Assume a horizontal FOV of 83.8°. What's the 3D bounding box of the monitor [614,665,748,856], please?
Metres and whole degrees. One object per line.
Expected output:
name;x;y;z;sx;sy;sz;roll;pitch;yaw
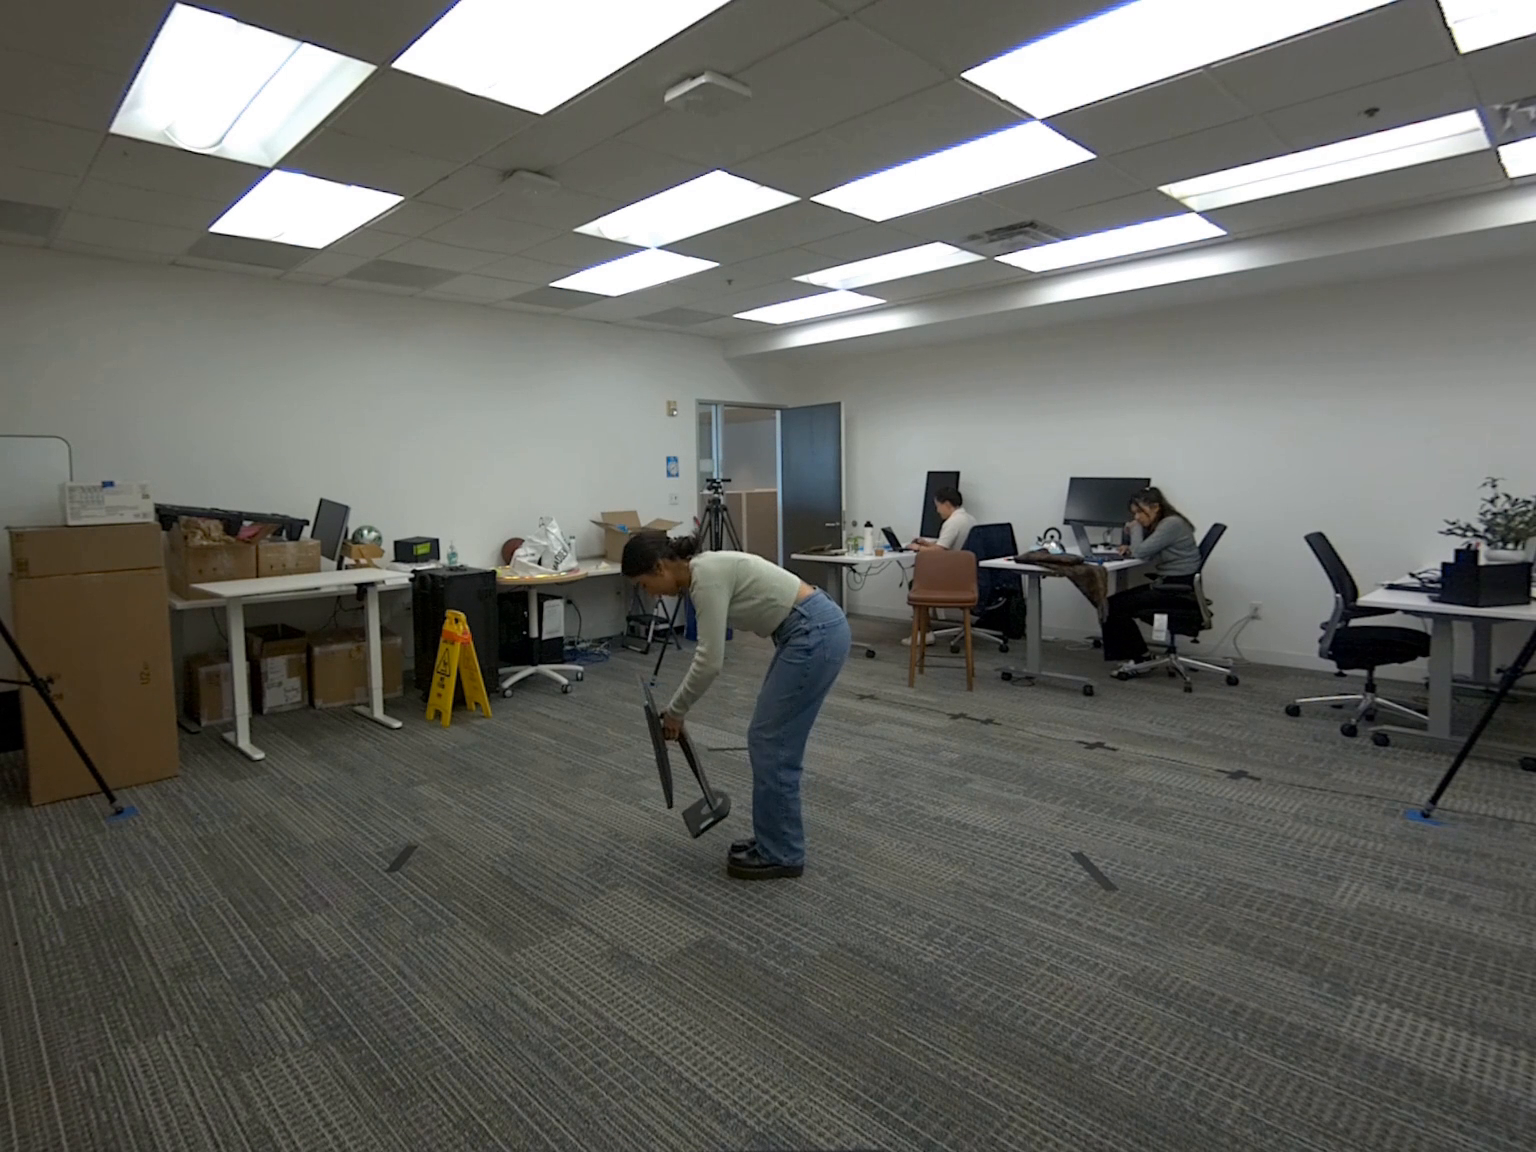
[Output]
monitor;-0.328;0.625;3.034;0.174;0.512;0.536;-31;7;-8
